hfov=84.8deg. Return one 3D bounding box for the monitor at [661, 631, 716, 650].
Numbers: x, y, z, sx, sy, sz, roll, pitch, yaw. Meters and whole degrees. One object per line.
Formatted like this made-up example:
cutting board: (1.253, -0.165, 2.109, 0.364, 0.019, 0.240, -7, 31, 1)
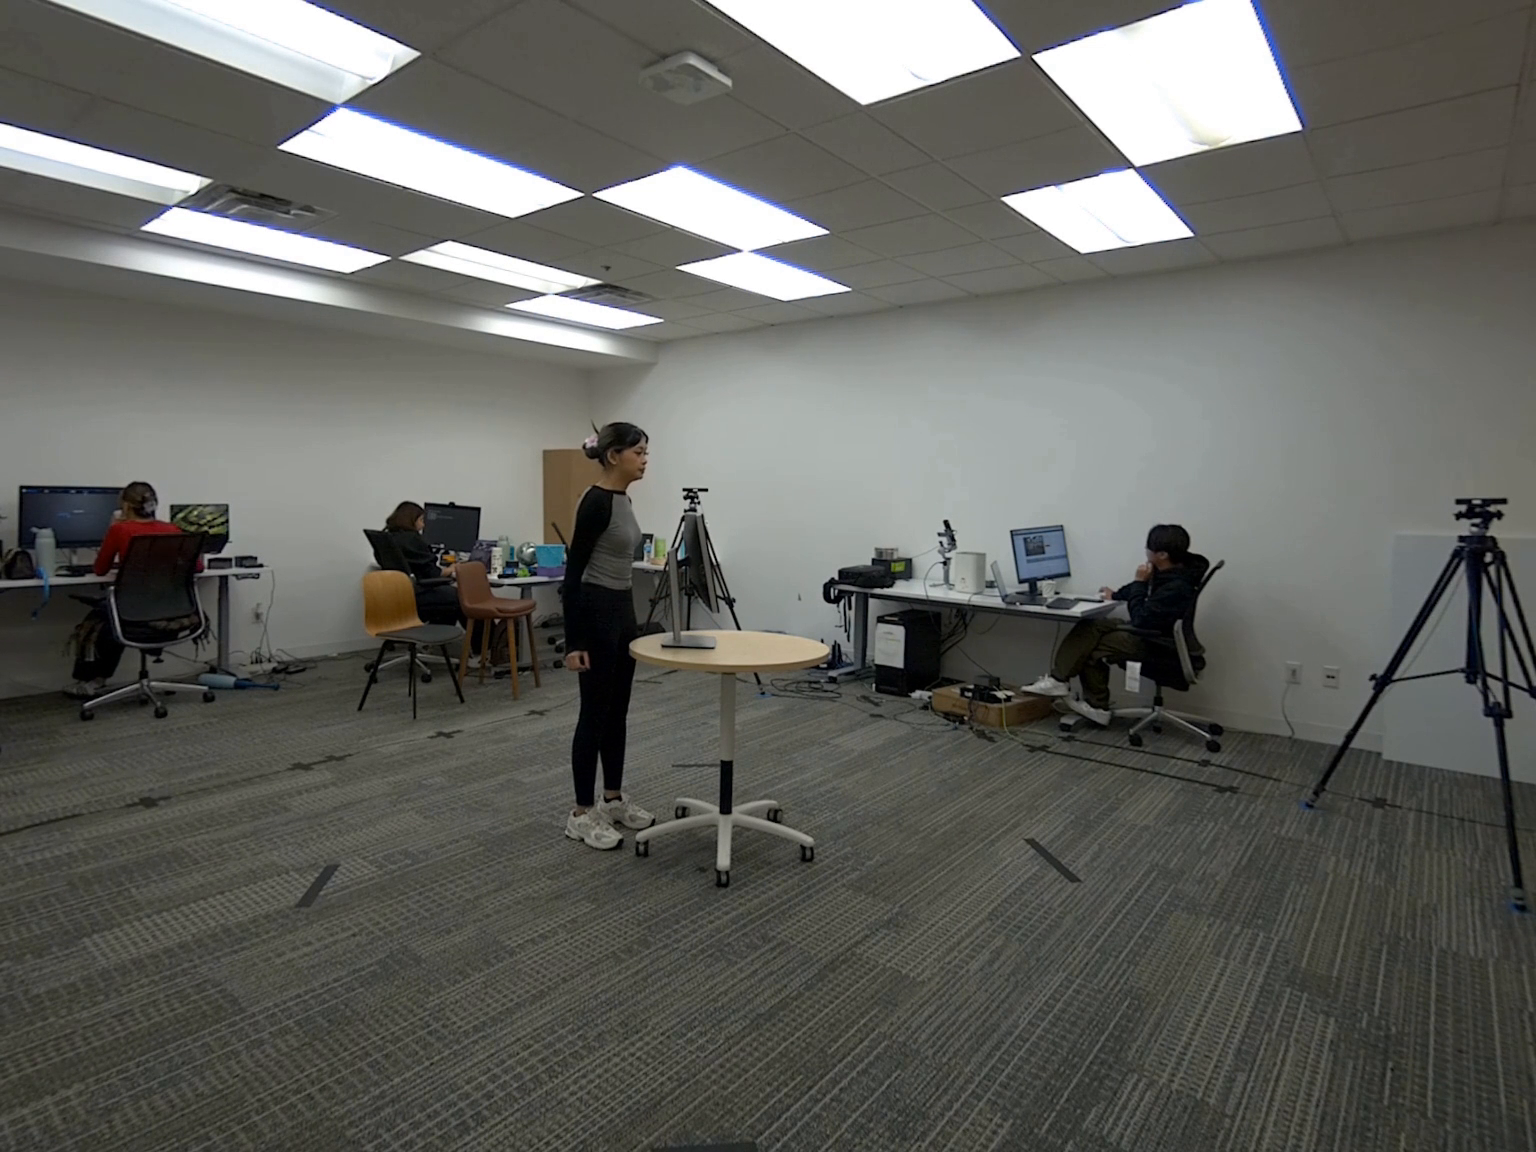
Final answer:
monitor: (-0.315, 0.010, 3.294, 0.185, 0.522, 0.546, 3, 3, -12)
